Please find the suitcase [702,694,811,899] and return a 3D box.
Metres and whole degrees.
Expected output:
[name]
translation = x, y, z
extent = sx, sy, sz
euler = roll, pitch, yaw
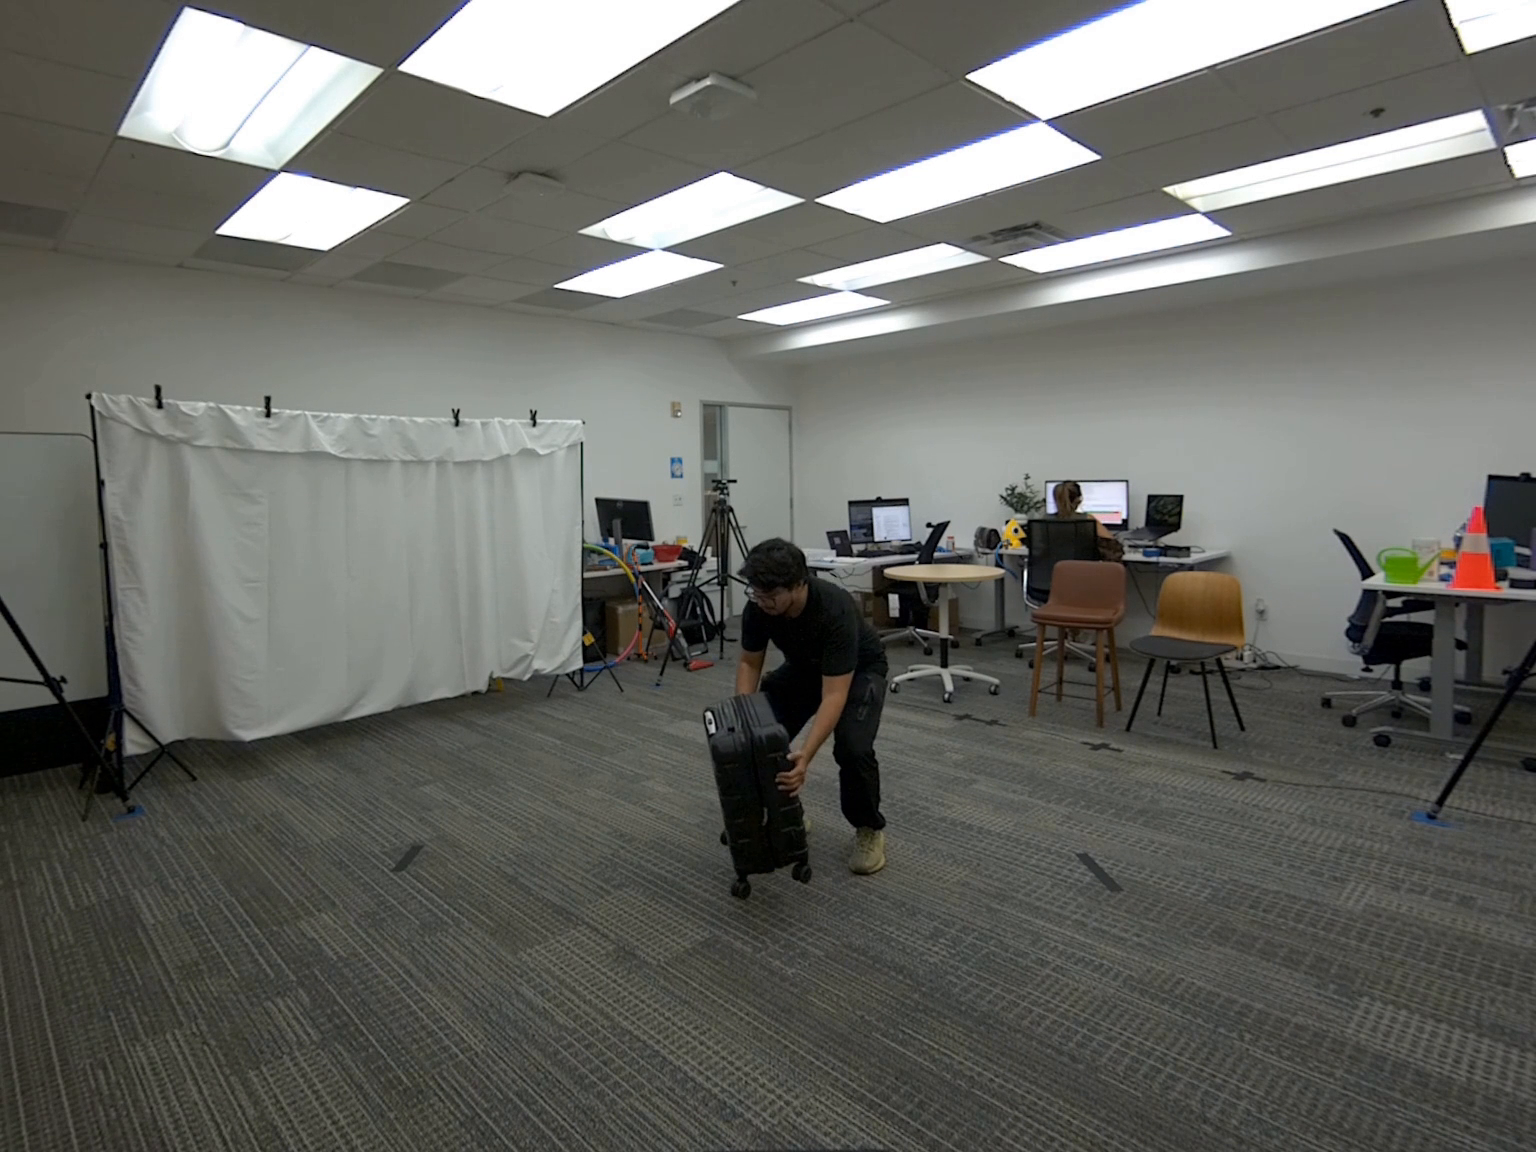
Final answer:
[suitcase]
translation = -0.048, 0.684, 2.793
extent = 0.247, 0.542, 0.382
euler = -12, 13, -7
